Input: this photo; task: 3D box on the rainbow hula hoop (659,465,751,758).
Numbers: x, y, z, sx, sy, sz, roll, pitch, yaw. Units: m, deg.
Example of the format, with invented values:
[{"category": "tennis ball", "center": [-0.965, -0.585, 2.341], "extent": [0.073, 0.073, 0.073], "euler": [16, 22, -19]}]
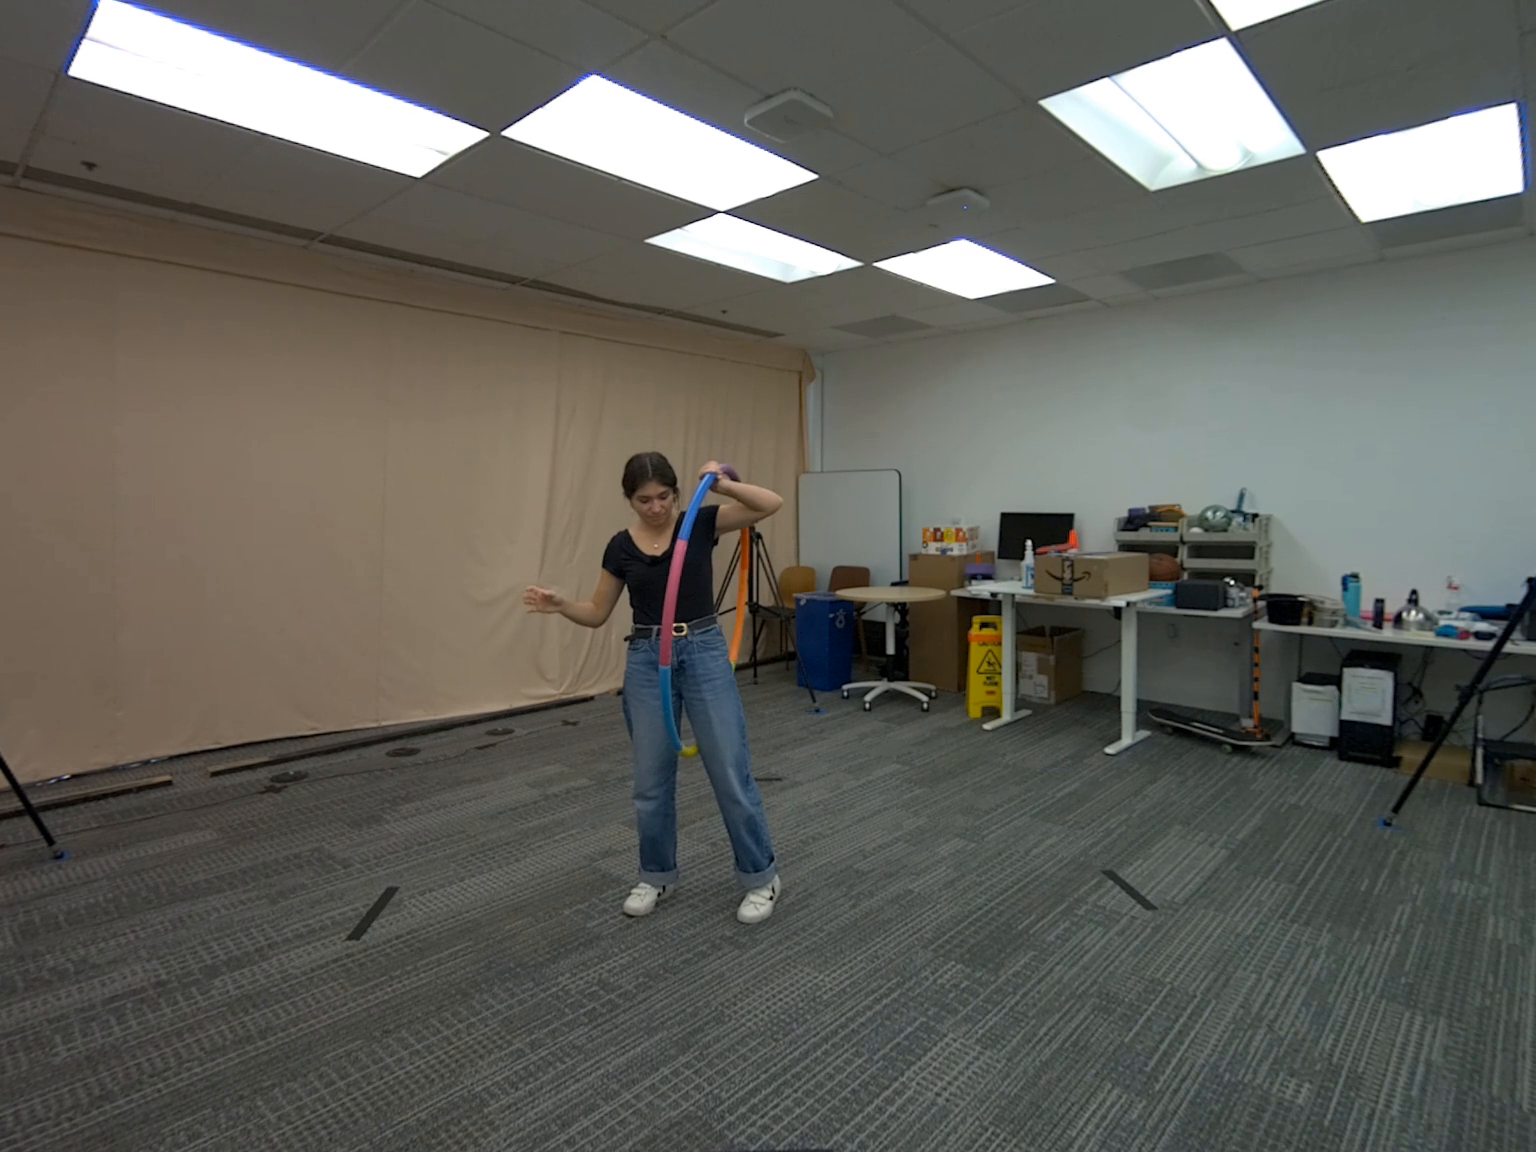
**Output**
[{"category": "rainbow hula hoop", "center": [-0.187, 0.110, 2.863], "extent": [0.036, 0.976, 0.967], "euler": [5, 5, 11]}]
